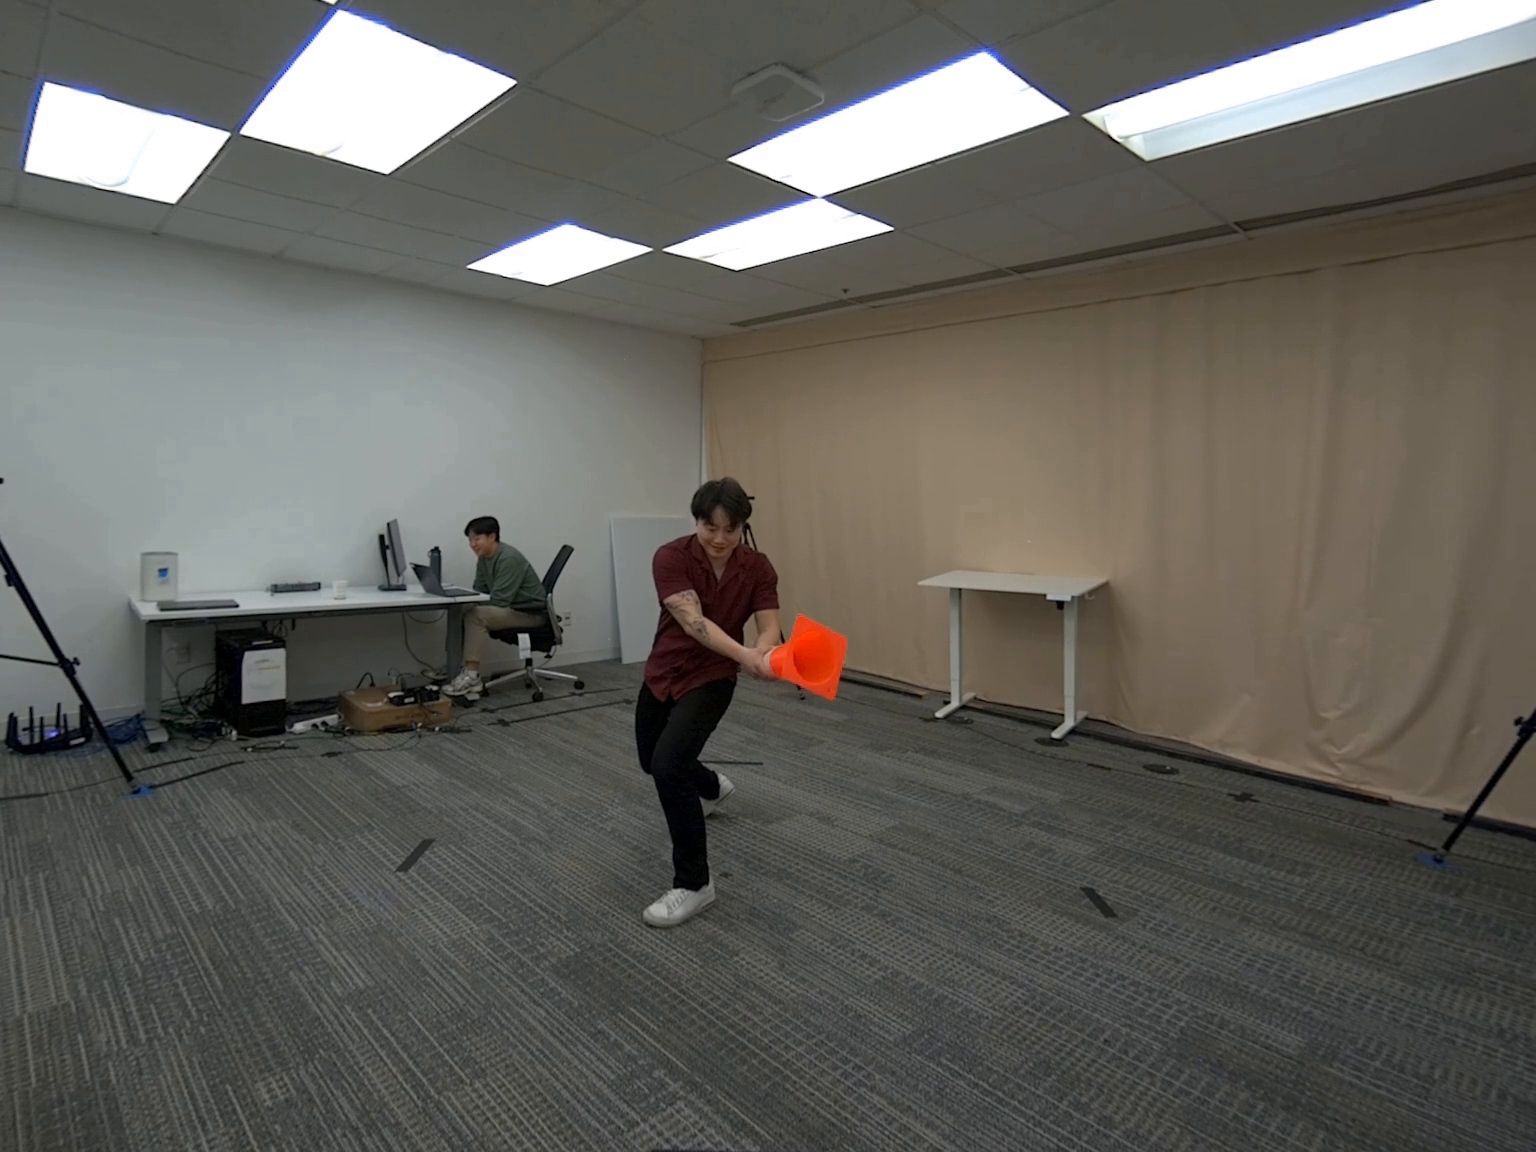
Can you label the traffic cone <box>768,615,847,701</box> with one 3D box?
[{"bbox_3d":[0.030,0.276,2.623,0.199,0.207,0.388,27,-24,-24],"label":"traffic cone"}]
